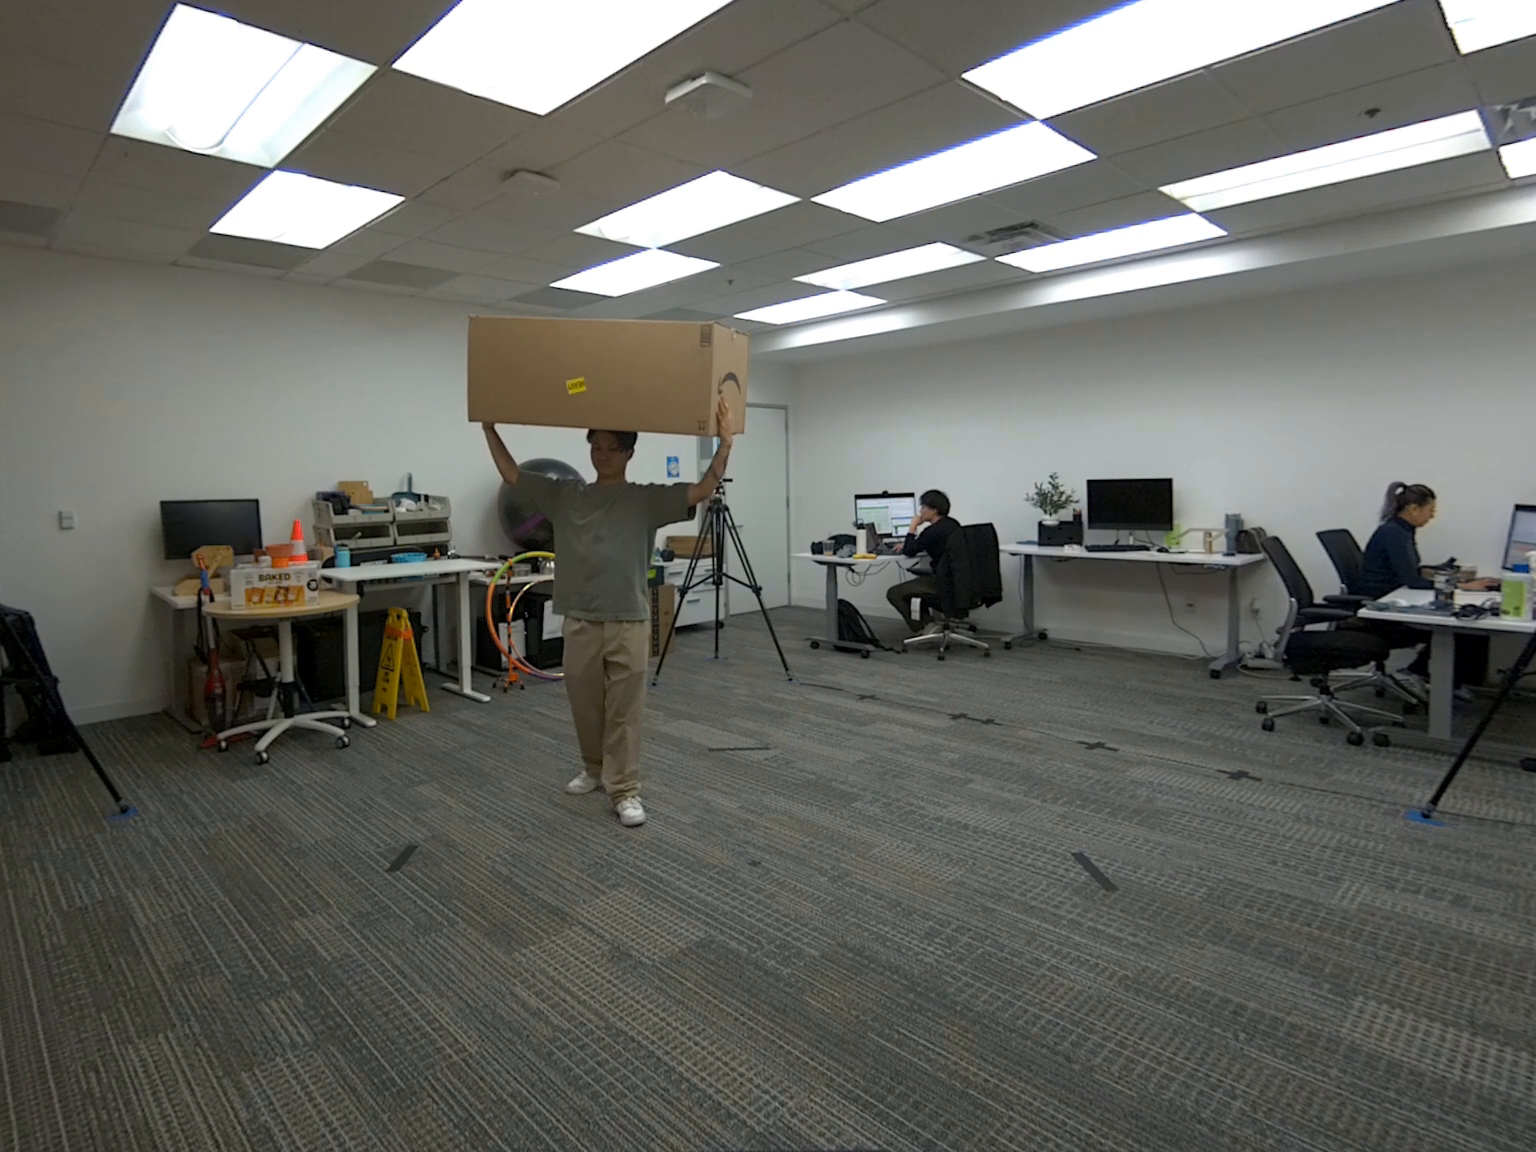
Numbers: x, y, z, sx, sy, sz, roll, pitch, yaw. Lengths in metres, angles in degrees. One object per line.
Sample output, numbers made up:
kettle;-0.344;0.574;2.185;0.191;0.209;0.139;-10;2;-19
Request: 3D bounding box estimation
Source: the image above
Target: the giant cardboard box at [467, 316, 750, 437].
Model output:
giant cardboard box;-0.647;-0.827;3.573;1.042;0.422;0.574;6;11;14
